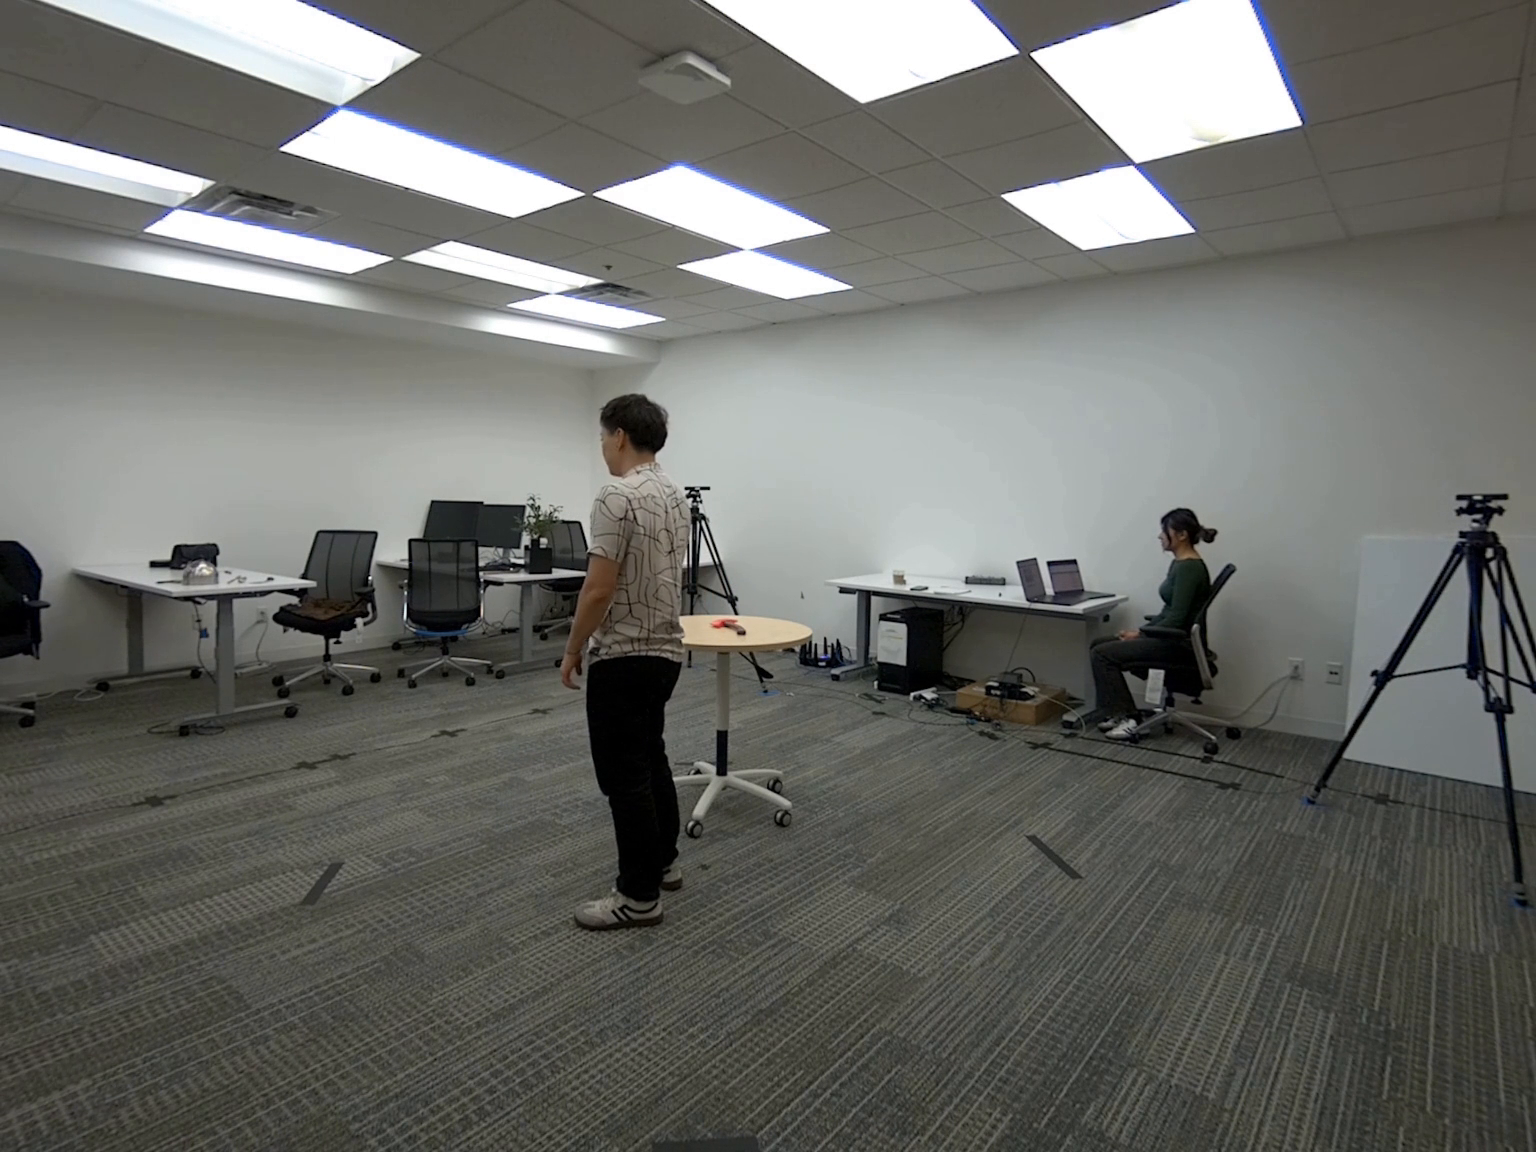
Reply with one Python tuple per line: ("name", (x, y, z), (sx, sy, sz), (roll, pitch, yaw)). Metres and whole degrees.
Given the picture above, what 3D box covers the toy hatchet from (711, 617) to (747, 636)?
("toy hatchet", (-0.179, 0.215, 3.654), (0.130, 0.029, 0.274), (-2, 7, -10))
